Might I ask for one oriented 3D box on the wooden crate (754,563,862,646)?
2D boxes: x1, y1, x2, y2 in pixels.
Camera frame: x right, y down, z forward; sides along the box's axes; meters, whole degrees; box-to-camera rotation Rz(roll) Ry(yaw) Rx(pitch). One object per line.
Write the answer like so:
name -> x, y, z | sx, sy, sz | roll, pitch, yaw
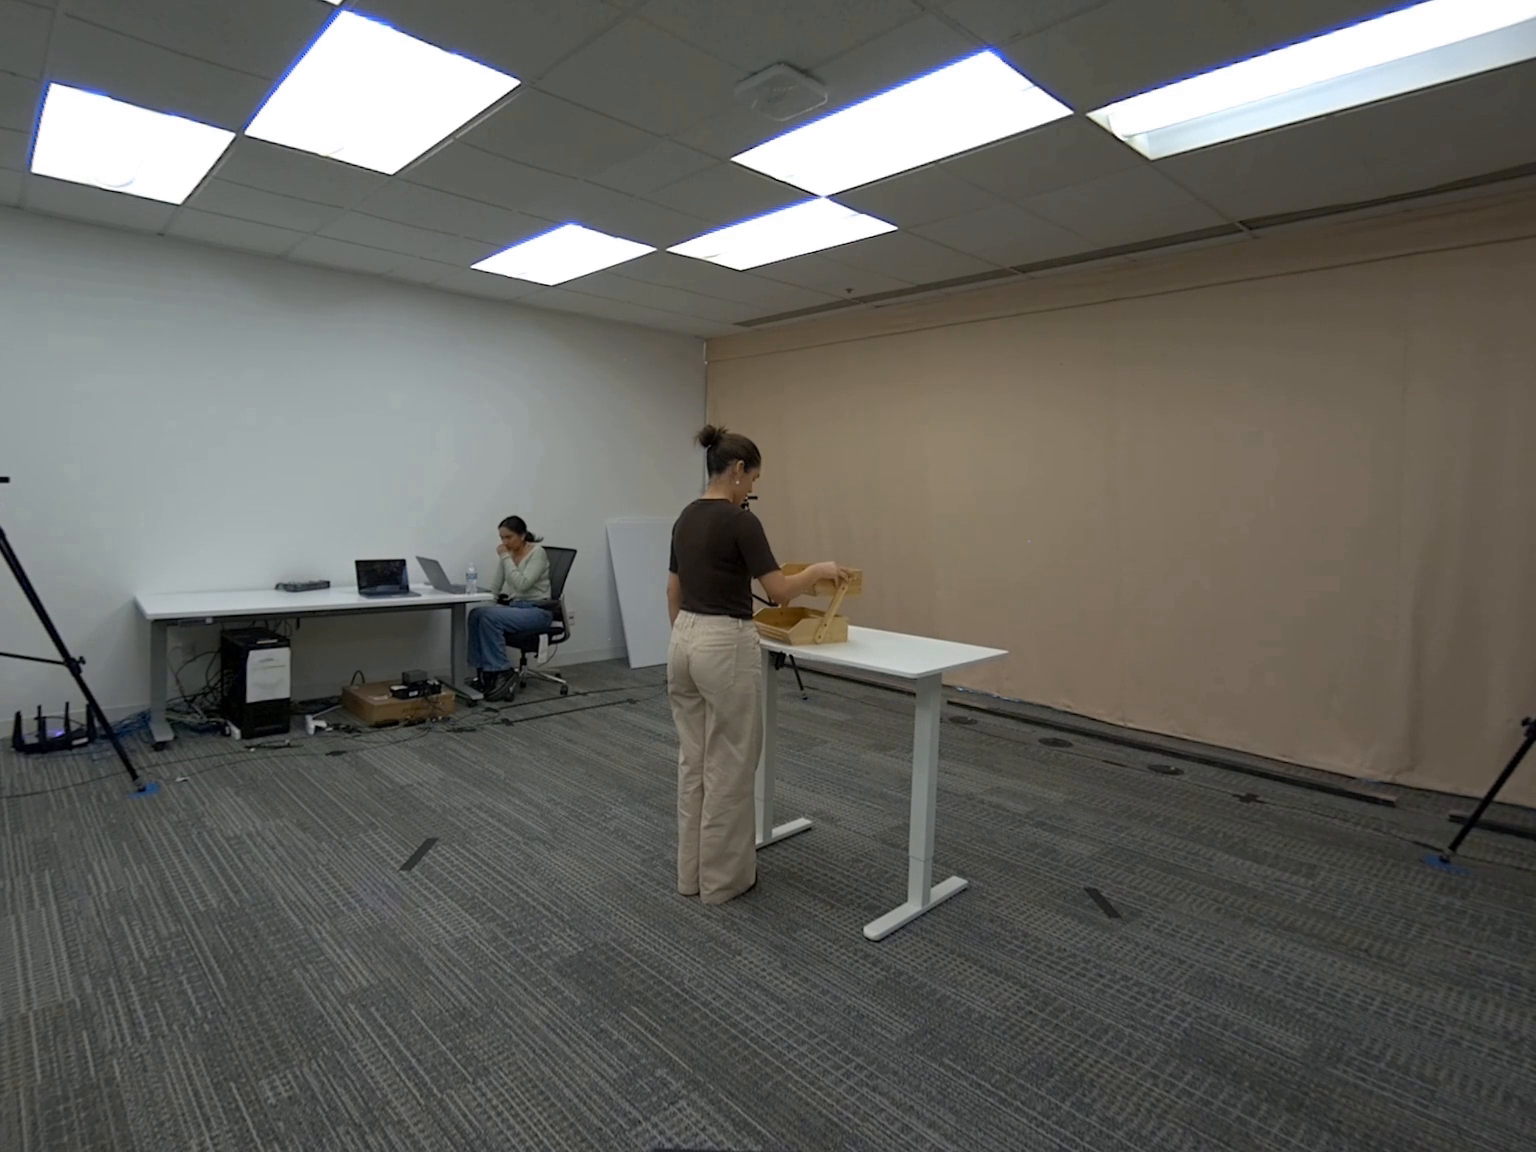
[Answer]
wooden crate -> 0.121, 0.091, 3.106 | 0.296, 0.273, 0.332 | 1, 4, -29
